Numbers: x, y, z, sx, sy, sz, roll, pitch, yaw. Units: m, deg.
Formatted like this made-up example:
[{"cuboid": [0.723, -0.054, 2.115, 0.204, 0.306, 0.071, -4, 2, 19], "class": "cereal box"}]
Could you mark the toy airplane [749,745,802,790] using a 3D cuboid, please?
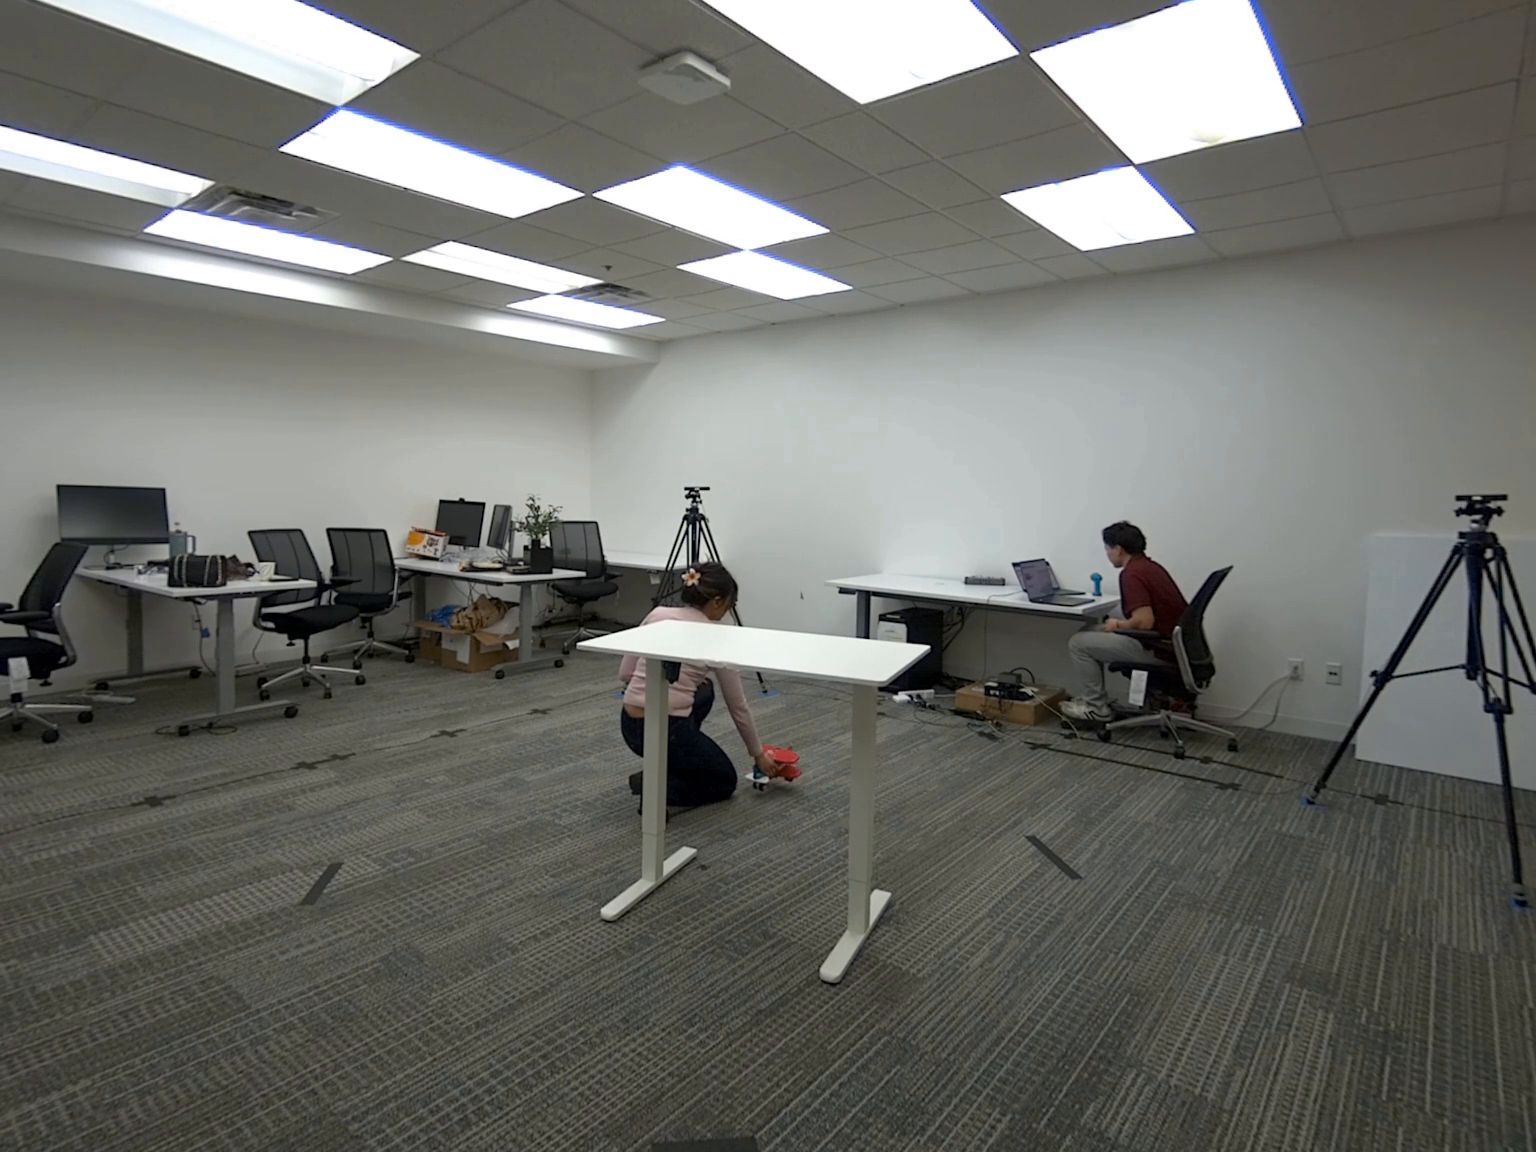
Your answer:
[{"cuboid": [0.016, 0.894, 3.925, 0.254, 0.156, 0.257, 0, 5, 10], "class": "toy airplane"}]
